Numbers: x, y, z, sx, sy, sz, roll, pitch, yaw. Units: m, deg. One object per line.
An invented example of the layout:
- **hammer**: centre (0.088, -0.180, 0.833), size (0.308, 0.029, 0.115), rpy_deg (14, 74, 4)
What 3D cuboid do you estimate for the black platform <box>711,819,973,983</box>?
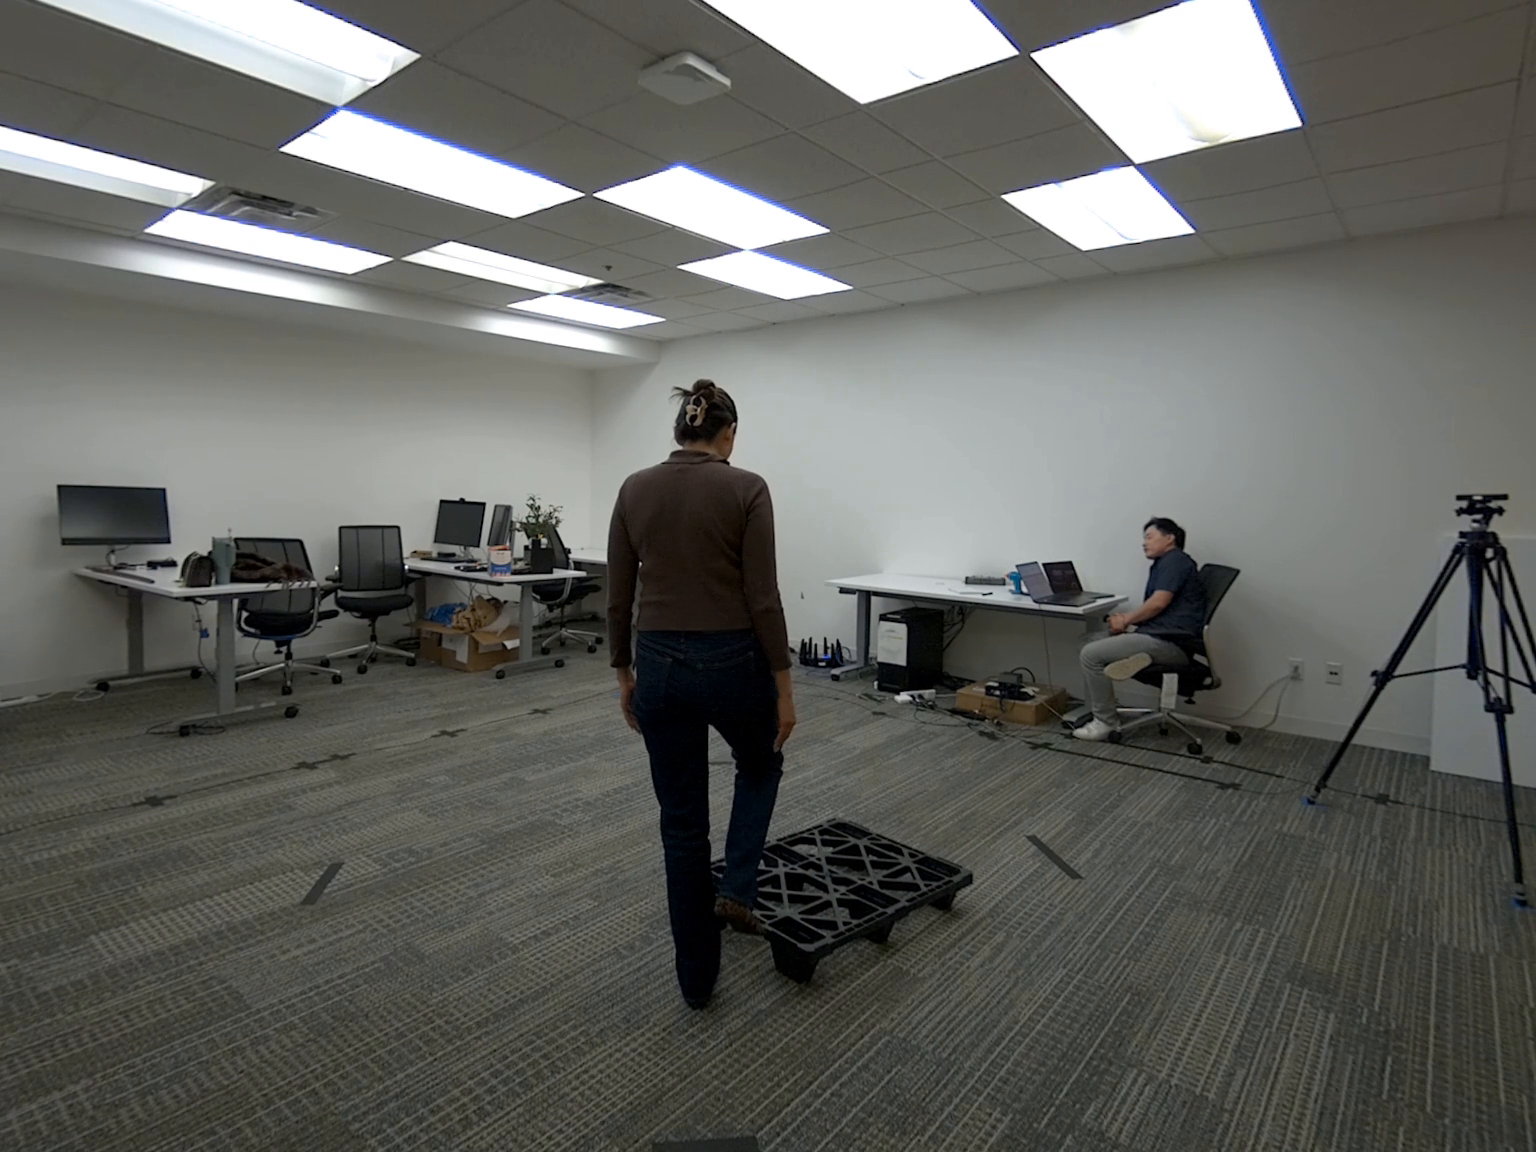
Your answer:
- **black platform**: centre (0.181, 1.038, 2.793), size (0.781, 0.143, 0.626), rpy_deg (-4, 7, -42)
